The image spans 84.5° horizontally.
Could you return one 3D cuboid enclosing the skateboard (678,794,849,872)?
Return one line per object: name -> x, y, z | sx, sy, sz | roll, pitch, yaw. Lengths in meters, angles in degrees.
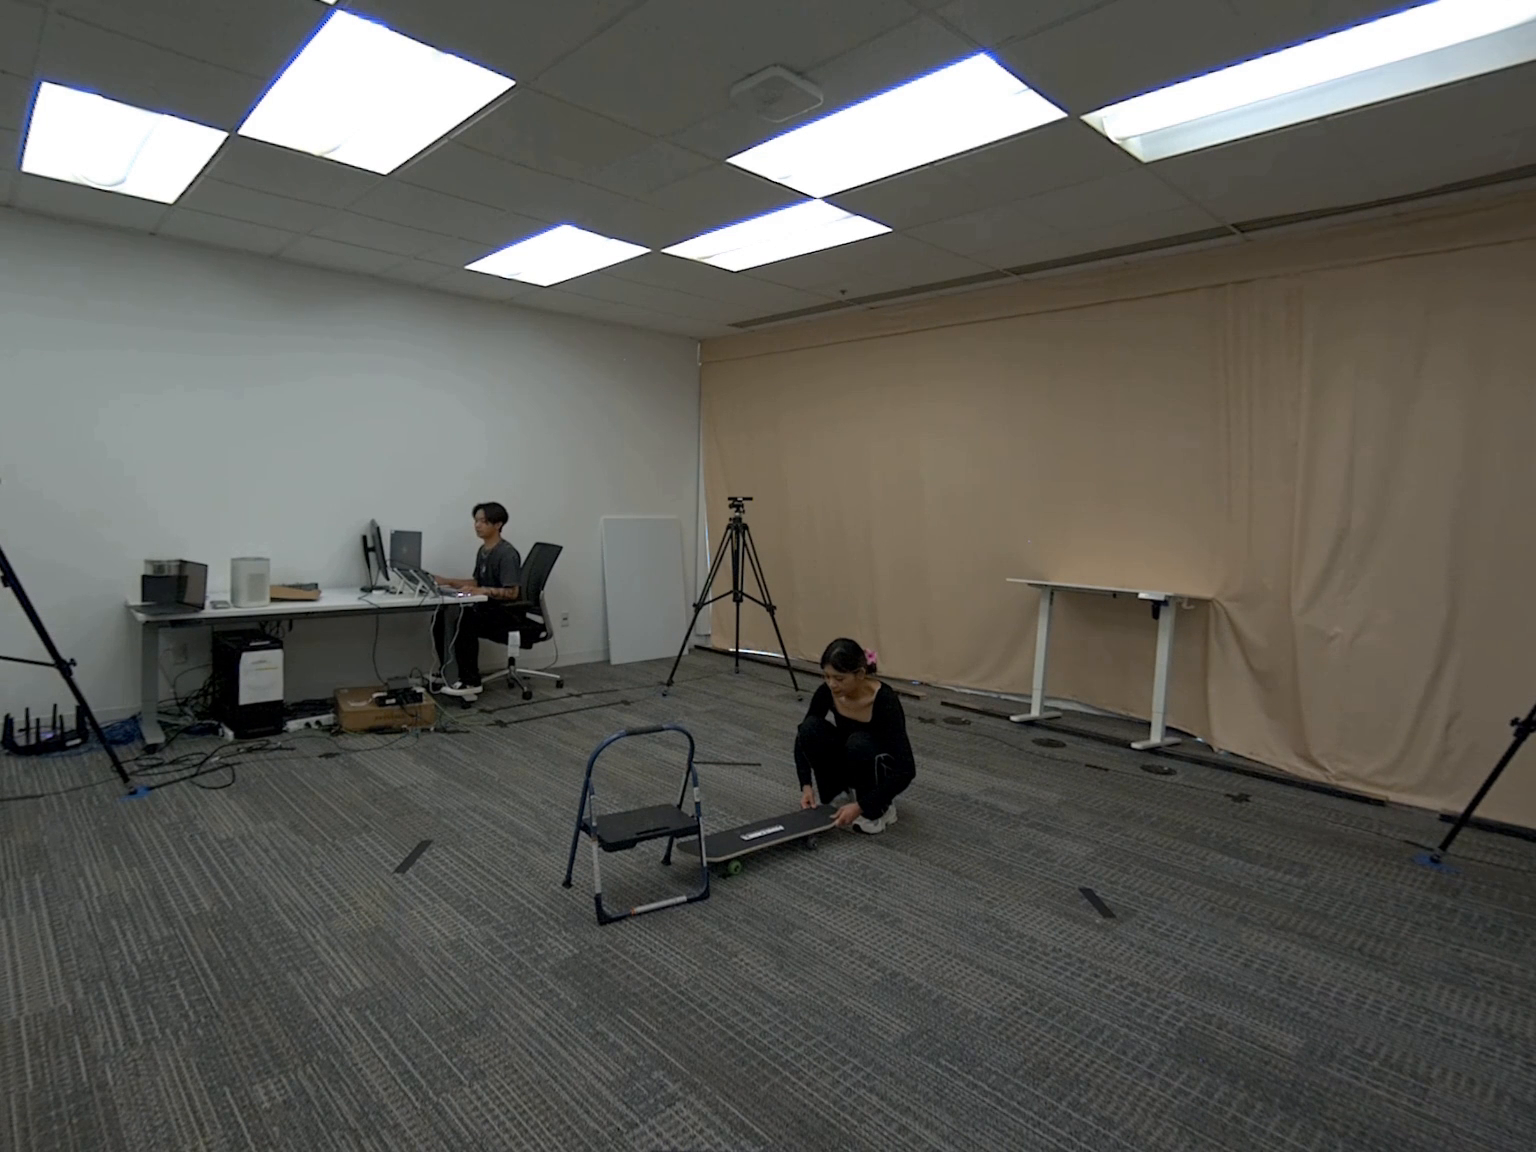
skateboard -> -0.028, 1.035, 3.296 | 0.768, 0.110, 0.198 | -2, 6, -38
